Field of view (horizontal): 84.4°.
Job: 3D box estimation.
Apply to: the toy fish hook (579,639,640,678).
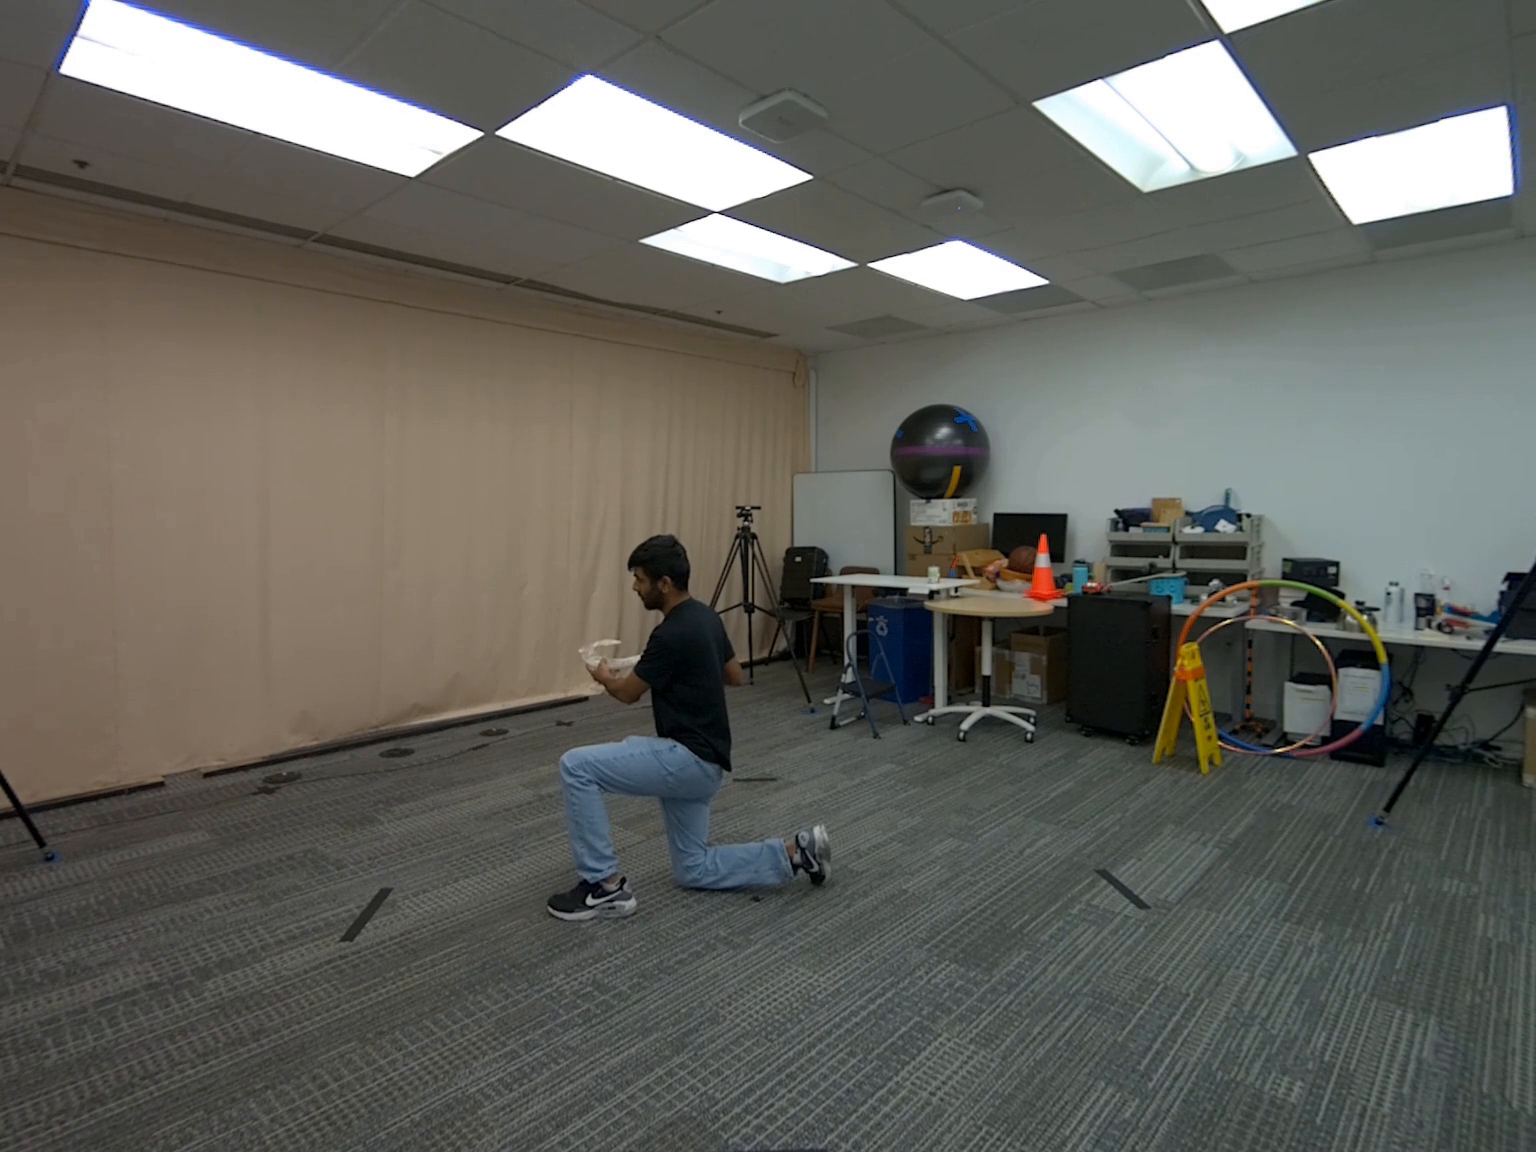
[{"bbox_3d":[-0.536,0.310,3.440,0.494,0.048,0.232,-3,28,-27],"label":"toy fish hook"}]
